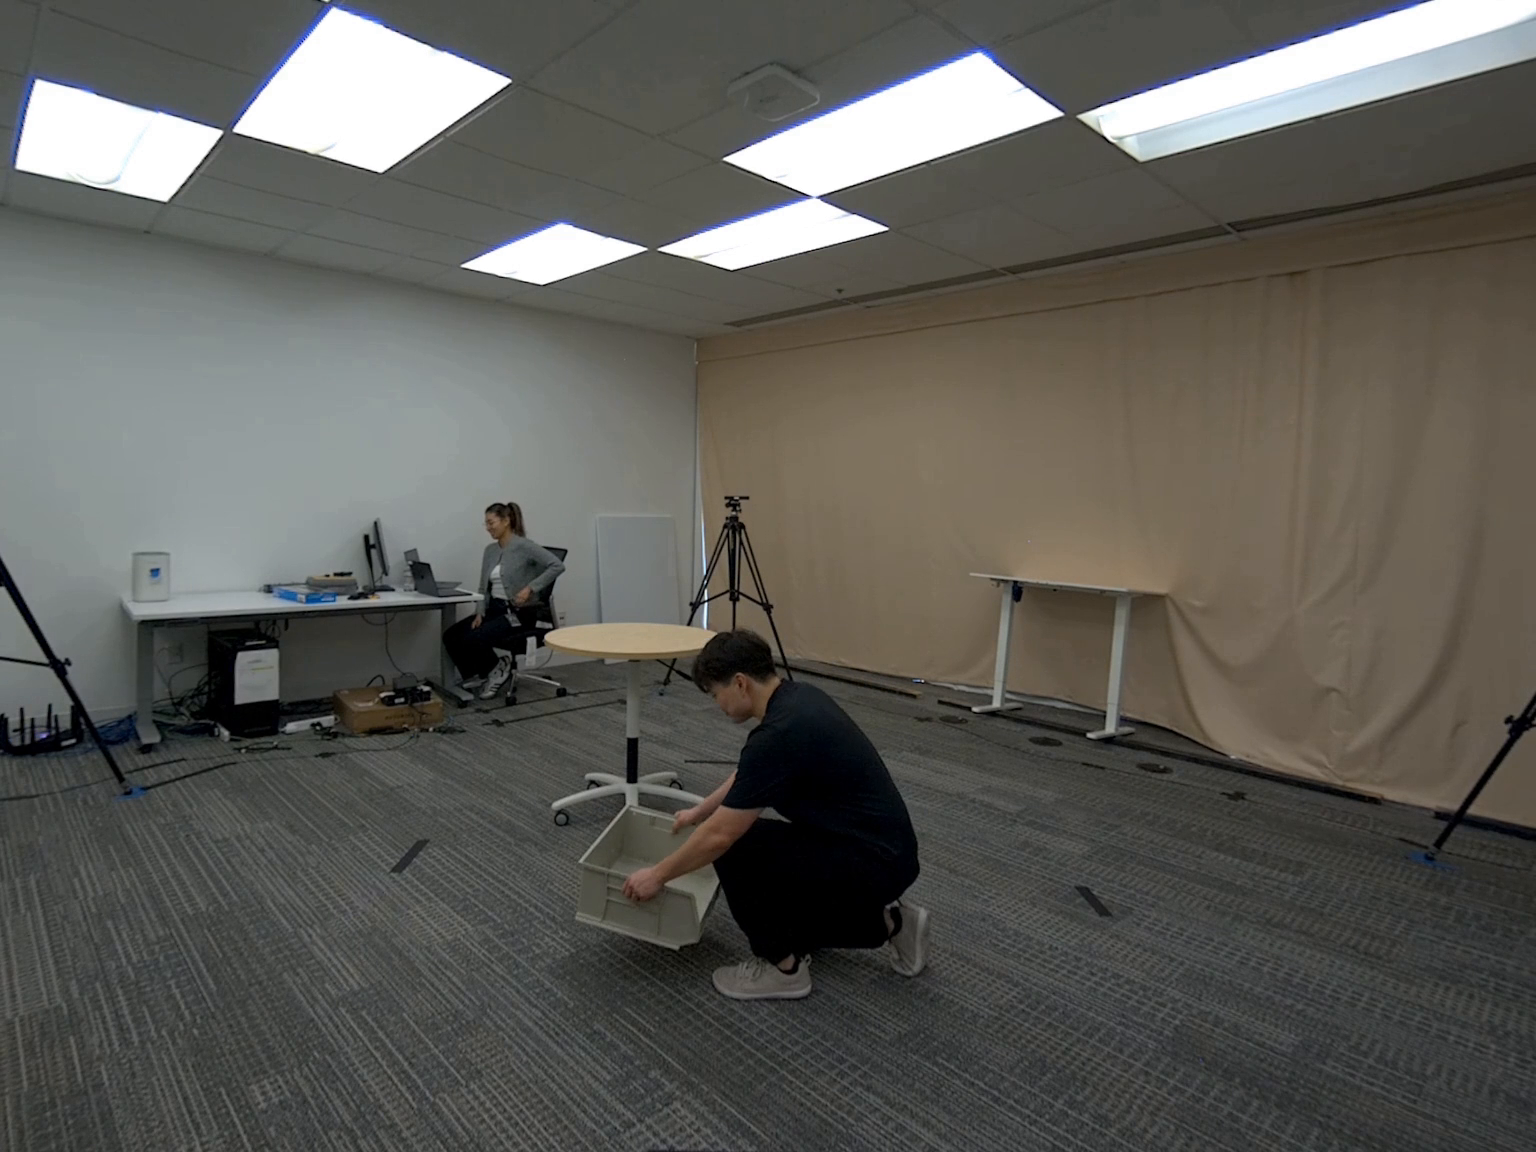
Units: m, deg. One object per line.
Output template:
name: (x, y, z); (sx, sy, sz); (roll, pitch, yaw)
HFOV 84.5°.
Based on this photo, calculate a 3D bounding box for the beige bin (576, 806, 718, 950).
beige bin: (-0.329, 0.909, 2.563); (0.380, 0.188, 0.422); (8, 11, 8)
